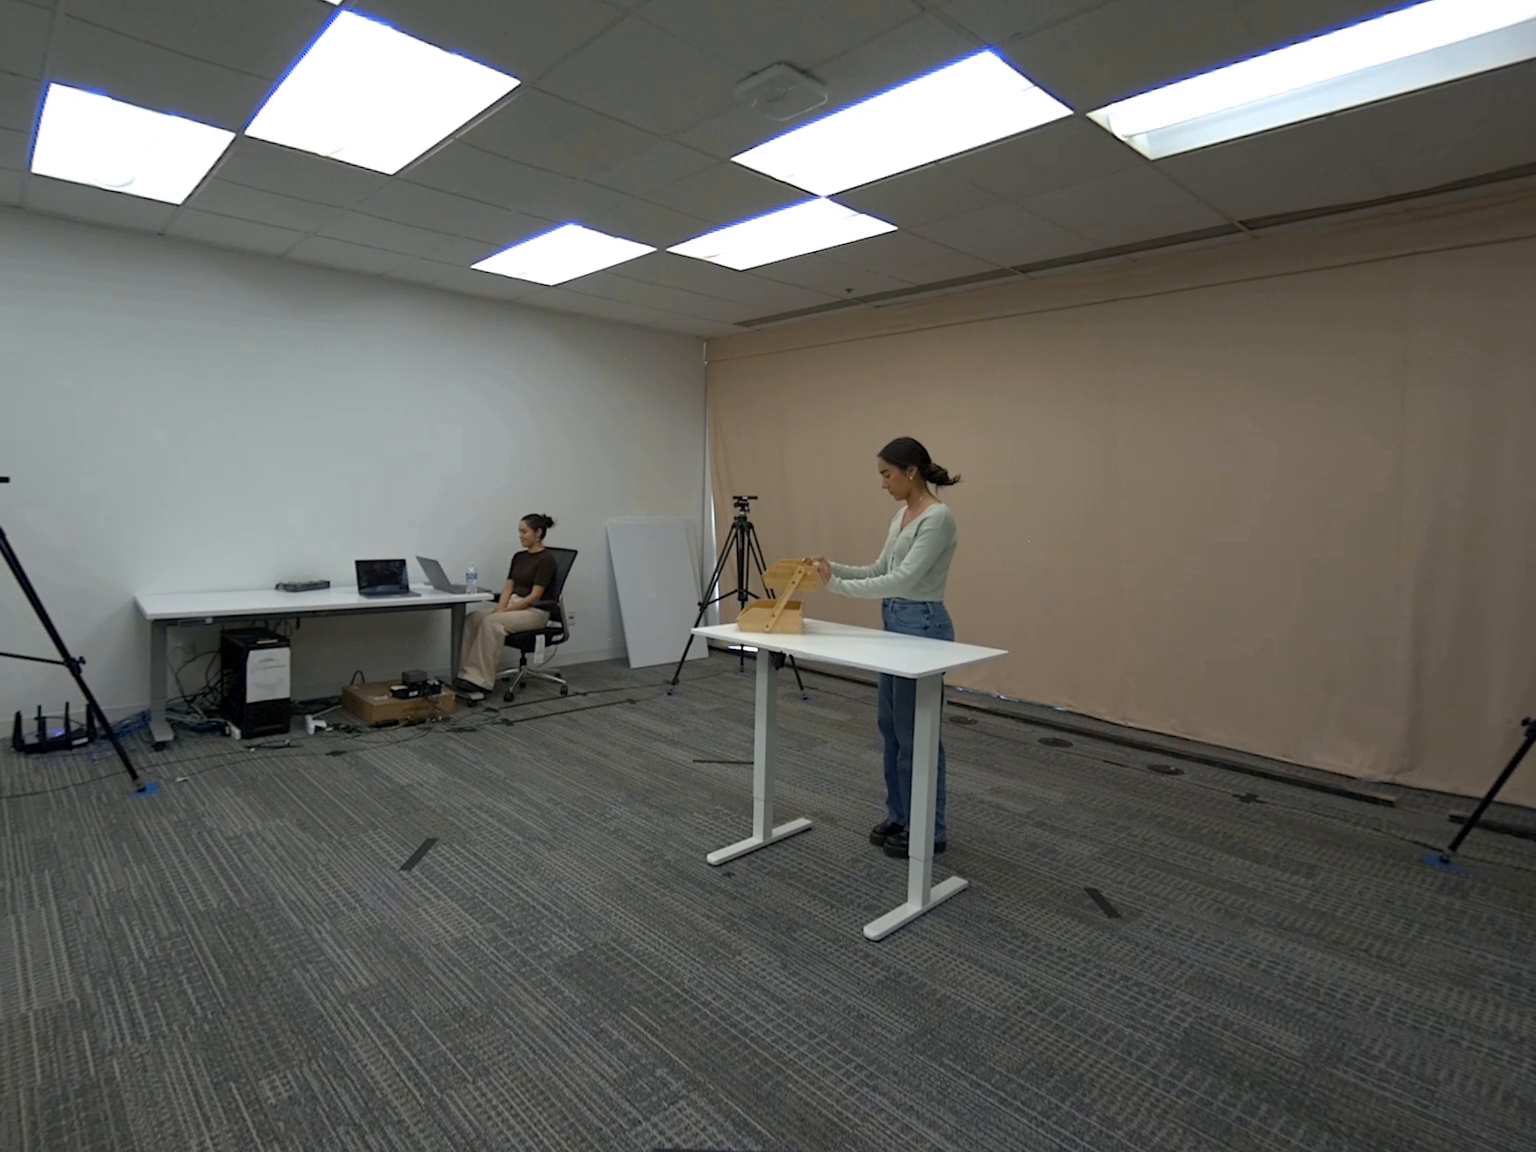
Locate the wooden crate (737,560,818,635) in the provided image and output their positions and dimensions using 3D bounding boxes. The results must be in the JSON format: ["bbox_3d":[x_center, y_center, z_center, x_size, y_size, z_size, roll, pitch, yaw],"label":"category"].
[{"bbox_3d":[0.038,0.071,3.309,0.303,0.272,0.324,2,5,5],"label":"wooden crate"}]
